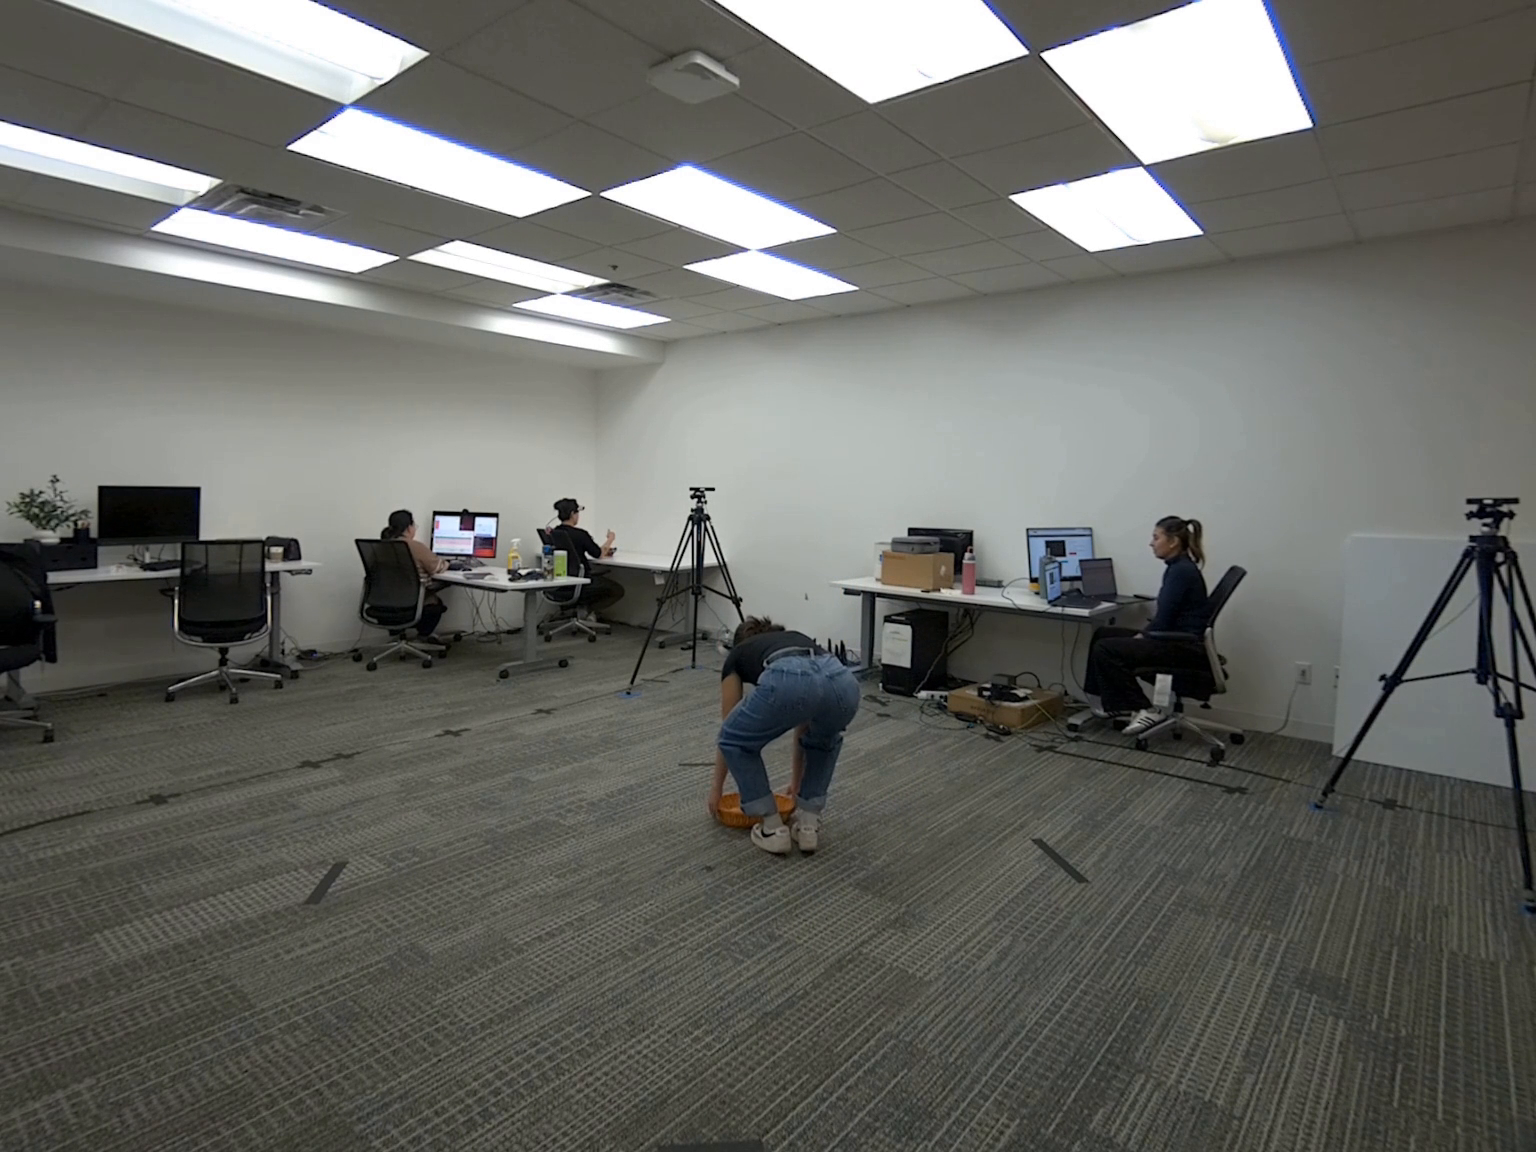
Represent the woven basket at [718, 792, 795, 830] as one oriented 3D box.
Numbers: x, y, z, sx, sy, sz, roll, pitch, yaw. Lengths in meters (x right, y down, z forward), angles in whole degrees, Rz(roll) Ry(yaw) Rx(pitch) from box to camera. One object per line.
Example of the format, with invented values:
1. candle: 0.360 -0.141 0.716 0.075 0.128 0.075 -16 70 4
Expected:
1. woven basket: -0.070 0.978 3.572 0.346 0.073 0.257 1 5 -13
